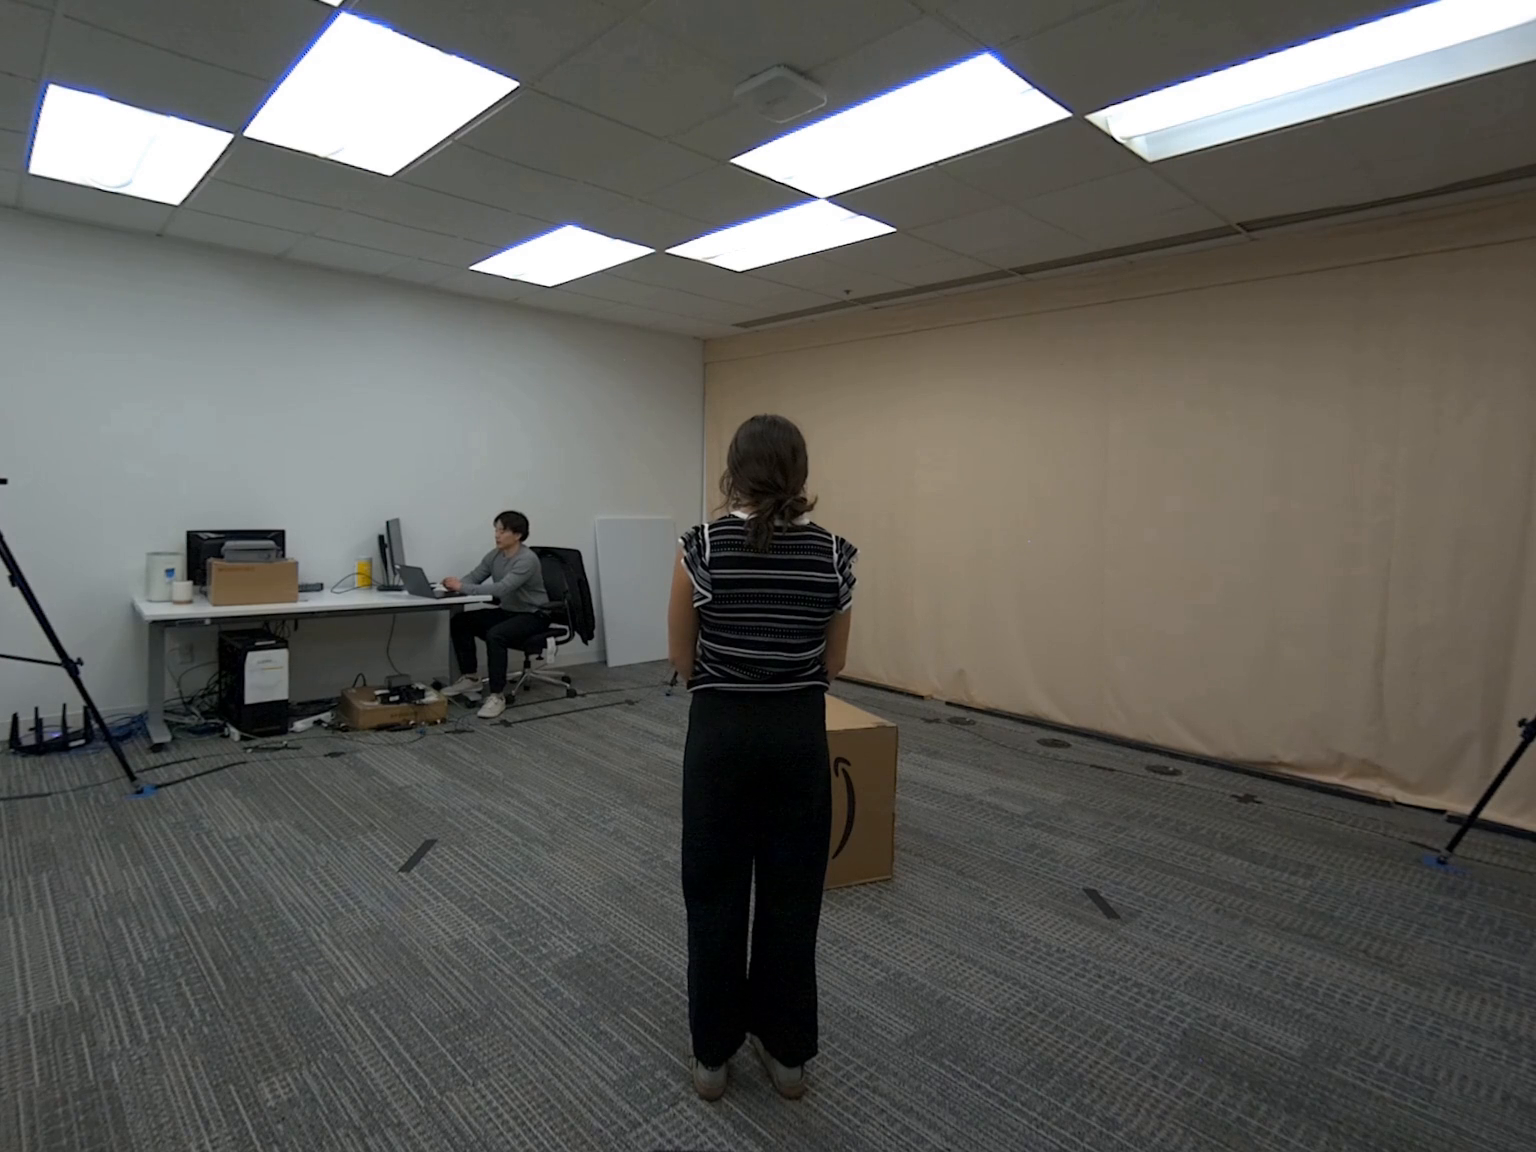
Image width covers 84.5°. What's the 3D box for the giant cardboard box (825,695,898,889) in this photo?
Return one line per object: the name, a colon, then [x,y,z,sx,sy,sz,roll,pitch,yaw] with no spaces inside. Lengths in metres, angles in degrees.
giant cardboard box: [0.062,0.794,3.489,0.419,0.576,1.045,1,4,-23]
